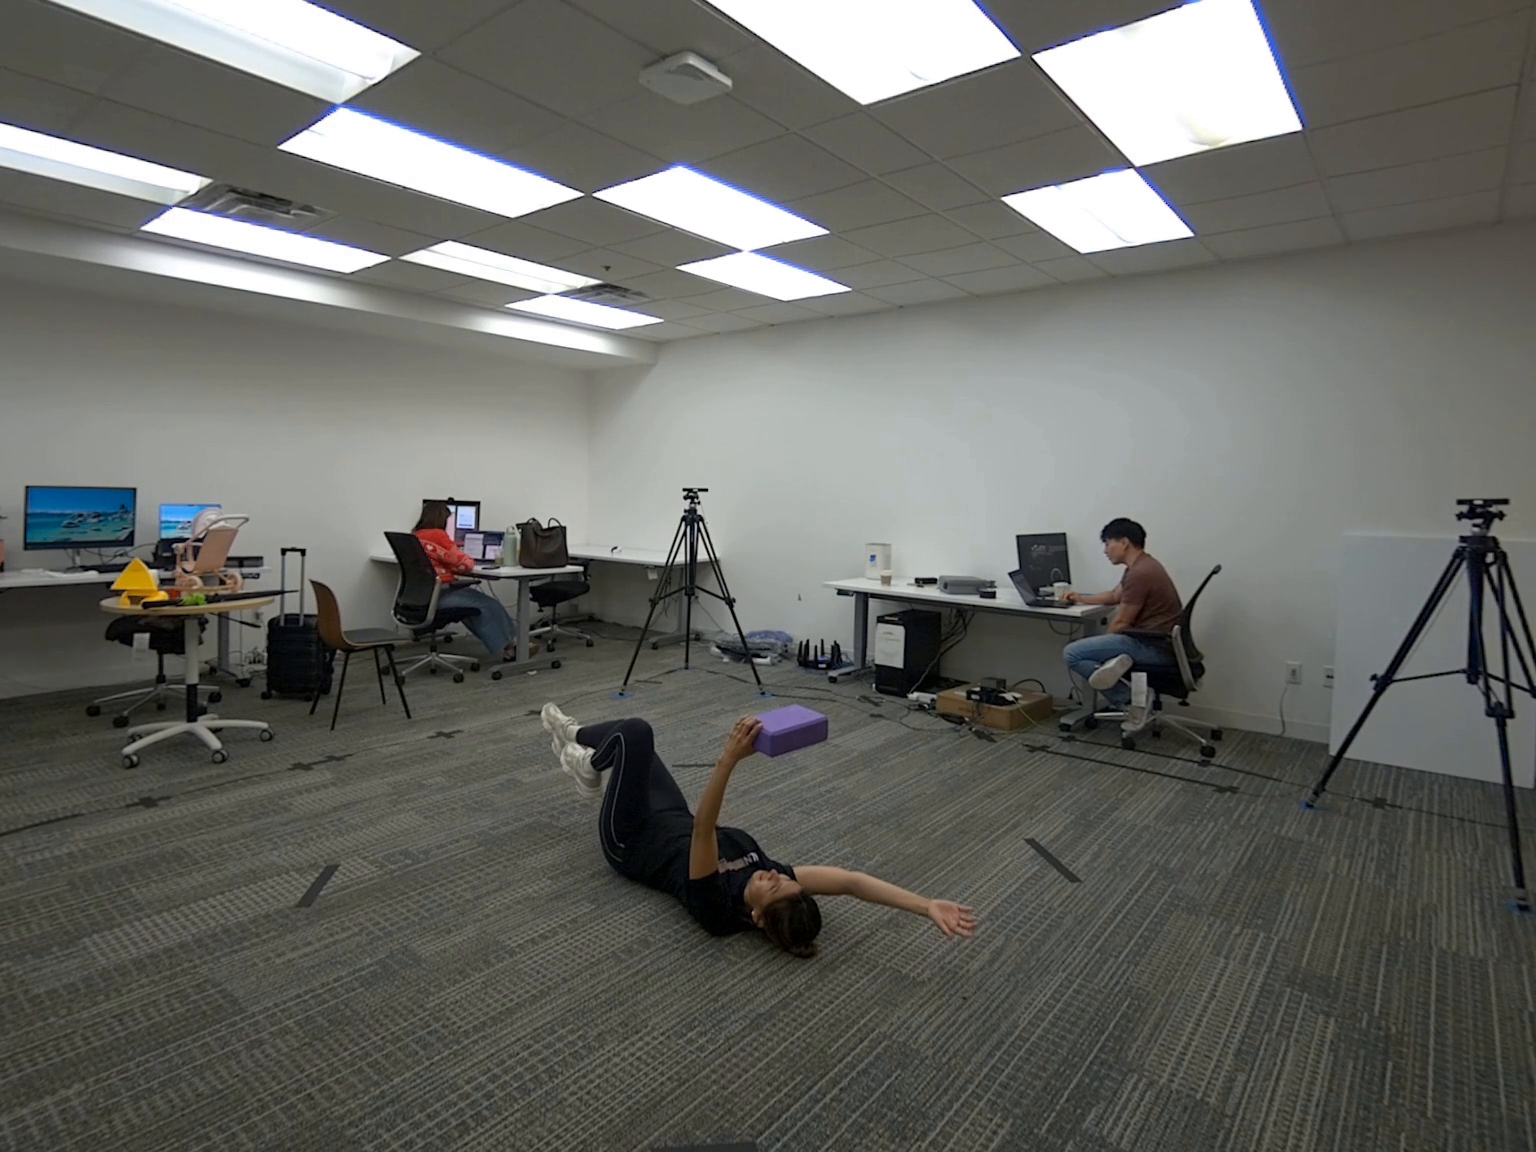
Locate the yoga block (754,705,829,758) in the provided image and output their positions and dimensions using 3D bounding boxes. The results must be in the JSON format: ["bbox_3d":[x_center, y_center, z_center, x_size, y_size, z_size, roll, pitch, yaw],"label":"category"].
[{"bbox_3d":[0.045,0.455,2.489,0.223,0.076,0.154,-7,12,-36],"label":"yoga block"}]
